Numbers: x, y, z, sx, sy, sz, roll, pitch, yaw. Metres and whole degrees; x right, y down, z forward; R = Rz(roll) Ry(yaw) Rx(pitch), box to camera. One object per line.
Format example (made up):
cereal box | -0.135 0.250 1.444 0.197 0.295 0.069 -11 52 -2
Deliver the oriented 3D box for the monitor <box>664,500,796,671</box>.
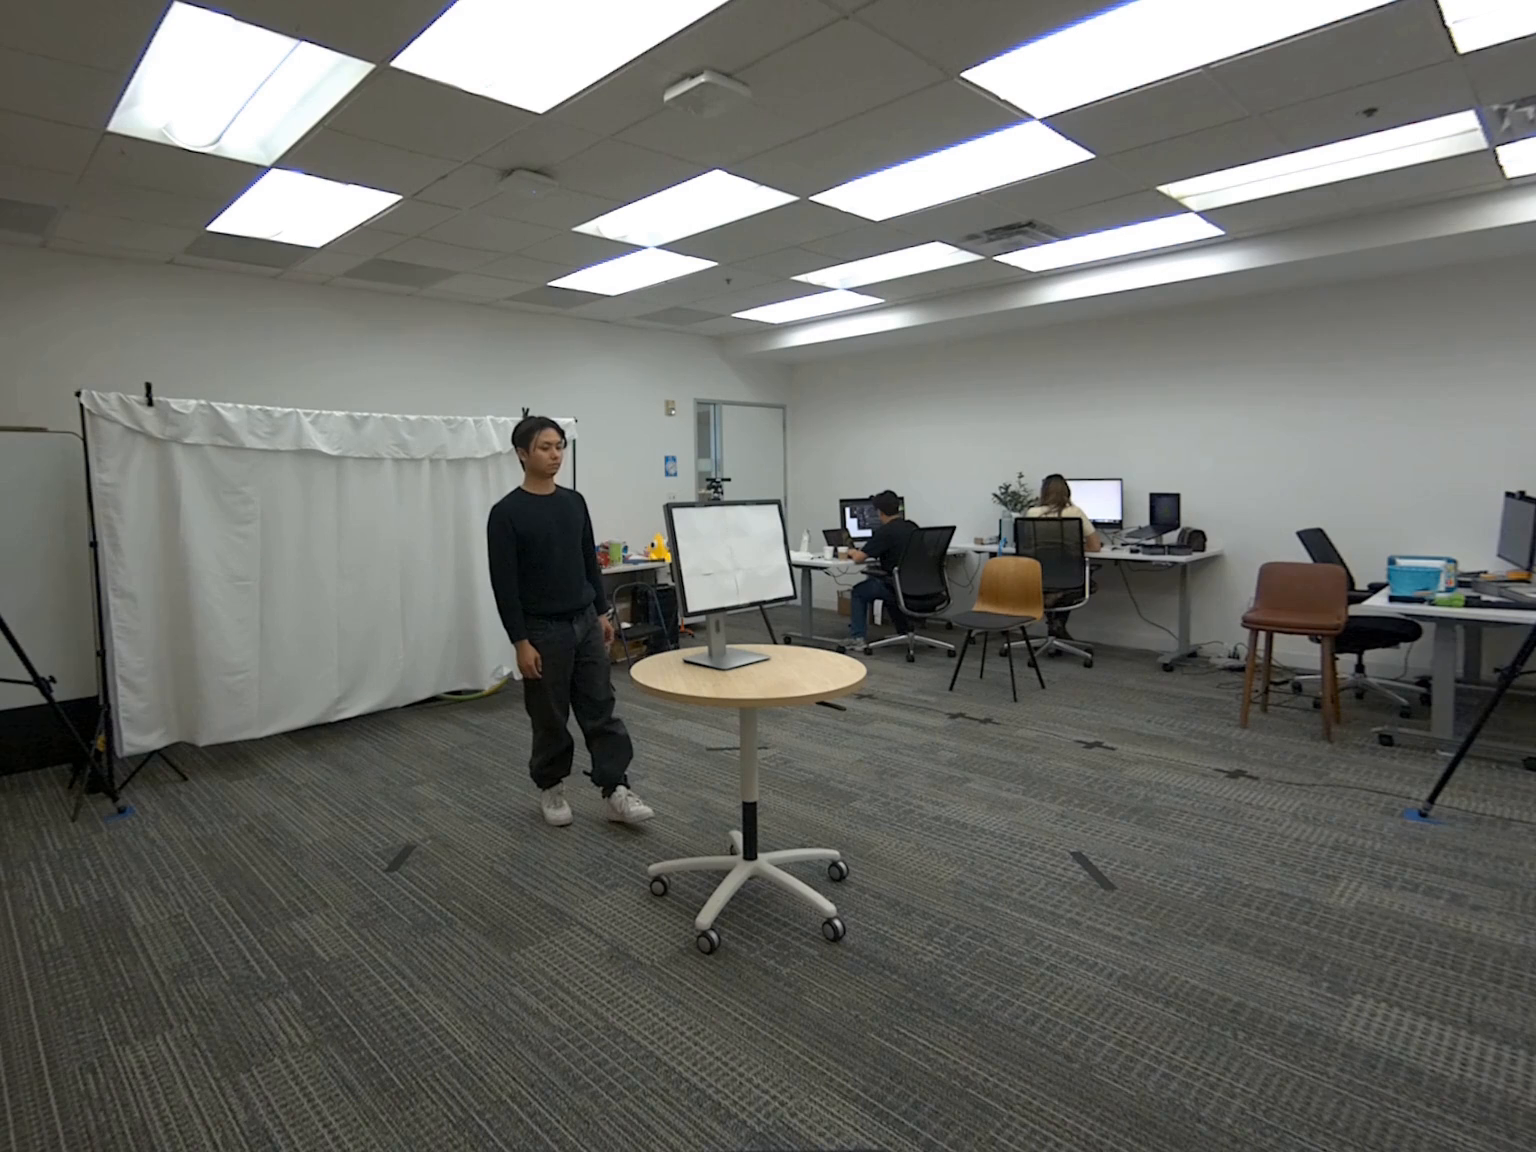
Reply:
monitor | -0.139 0.022 2.885 0.193 0.520 0.525 5 7 38
